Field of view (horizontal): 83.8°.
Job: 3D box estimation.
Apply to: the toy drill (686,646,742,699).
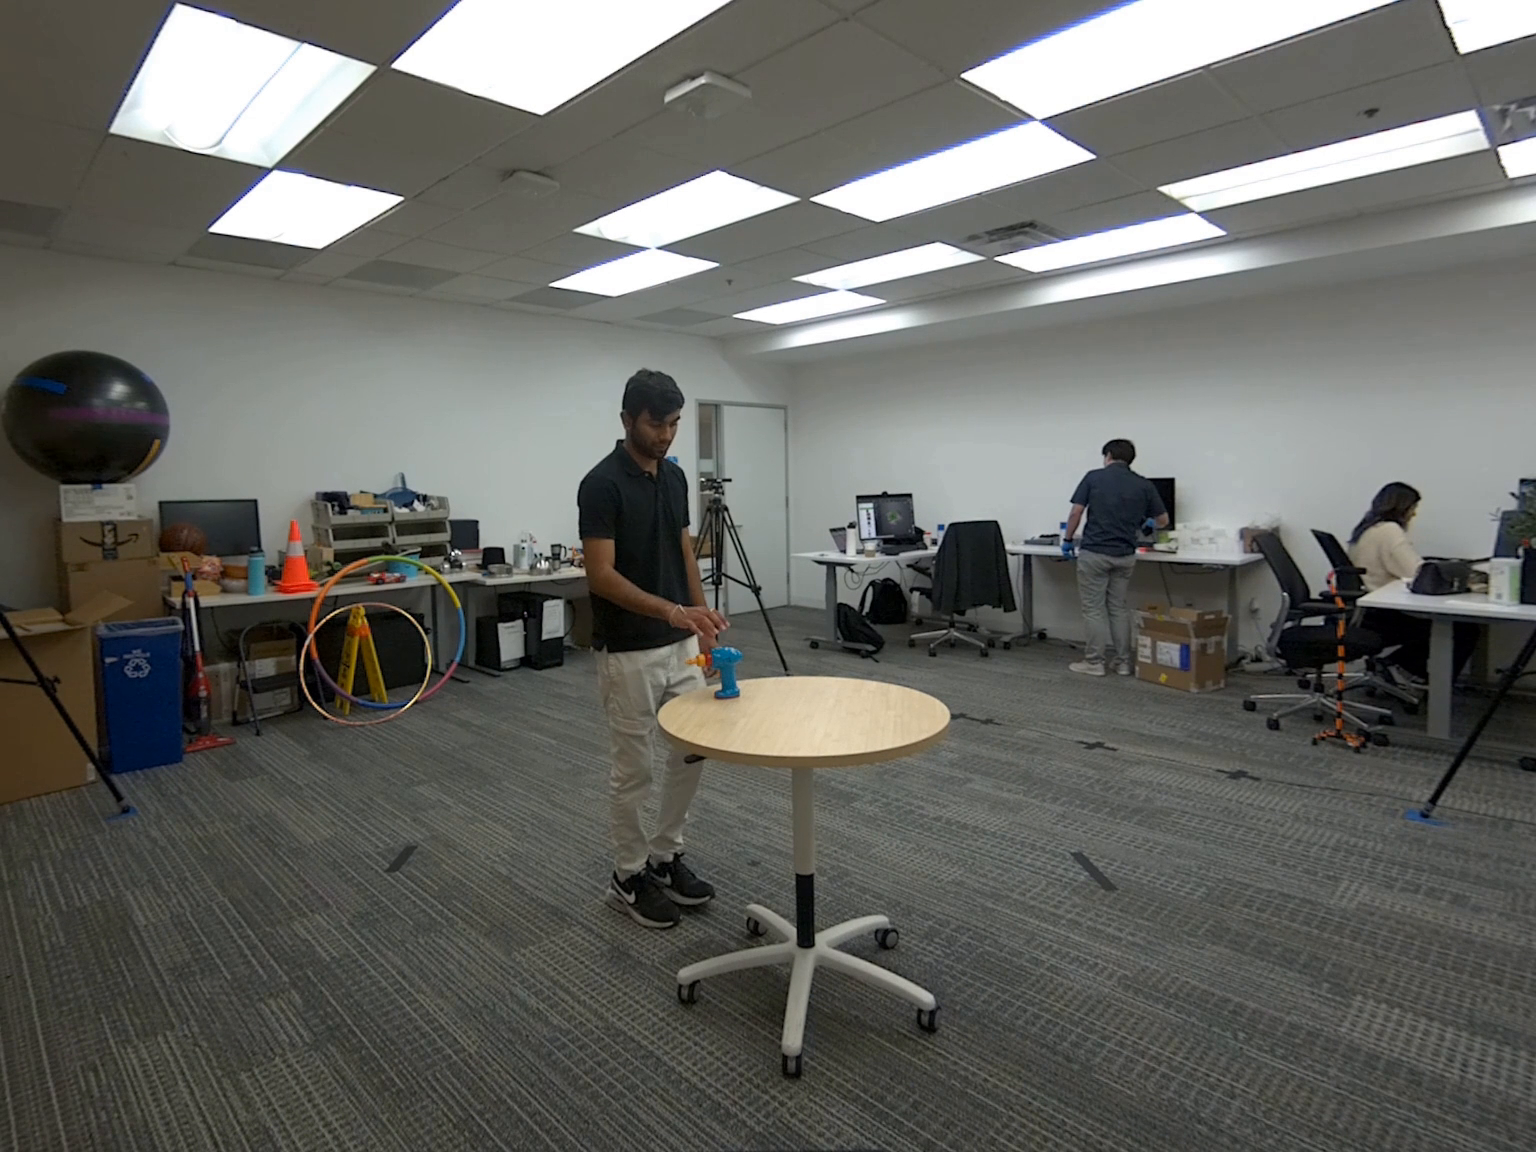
[{"bbox_3d":[-0.153,0.278,2.401,0.167,0.145,0.062,-4,8,-15],"label":"toy drill"}]
